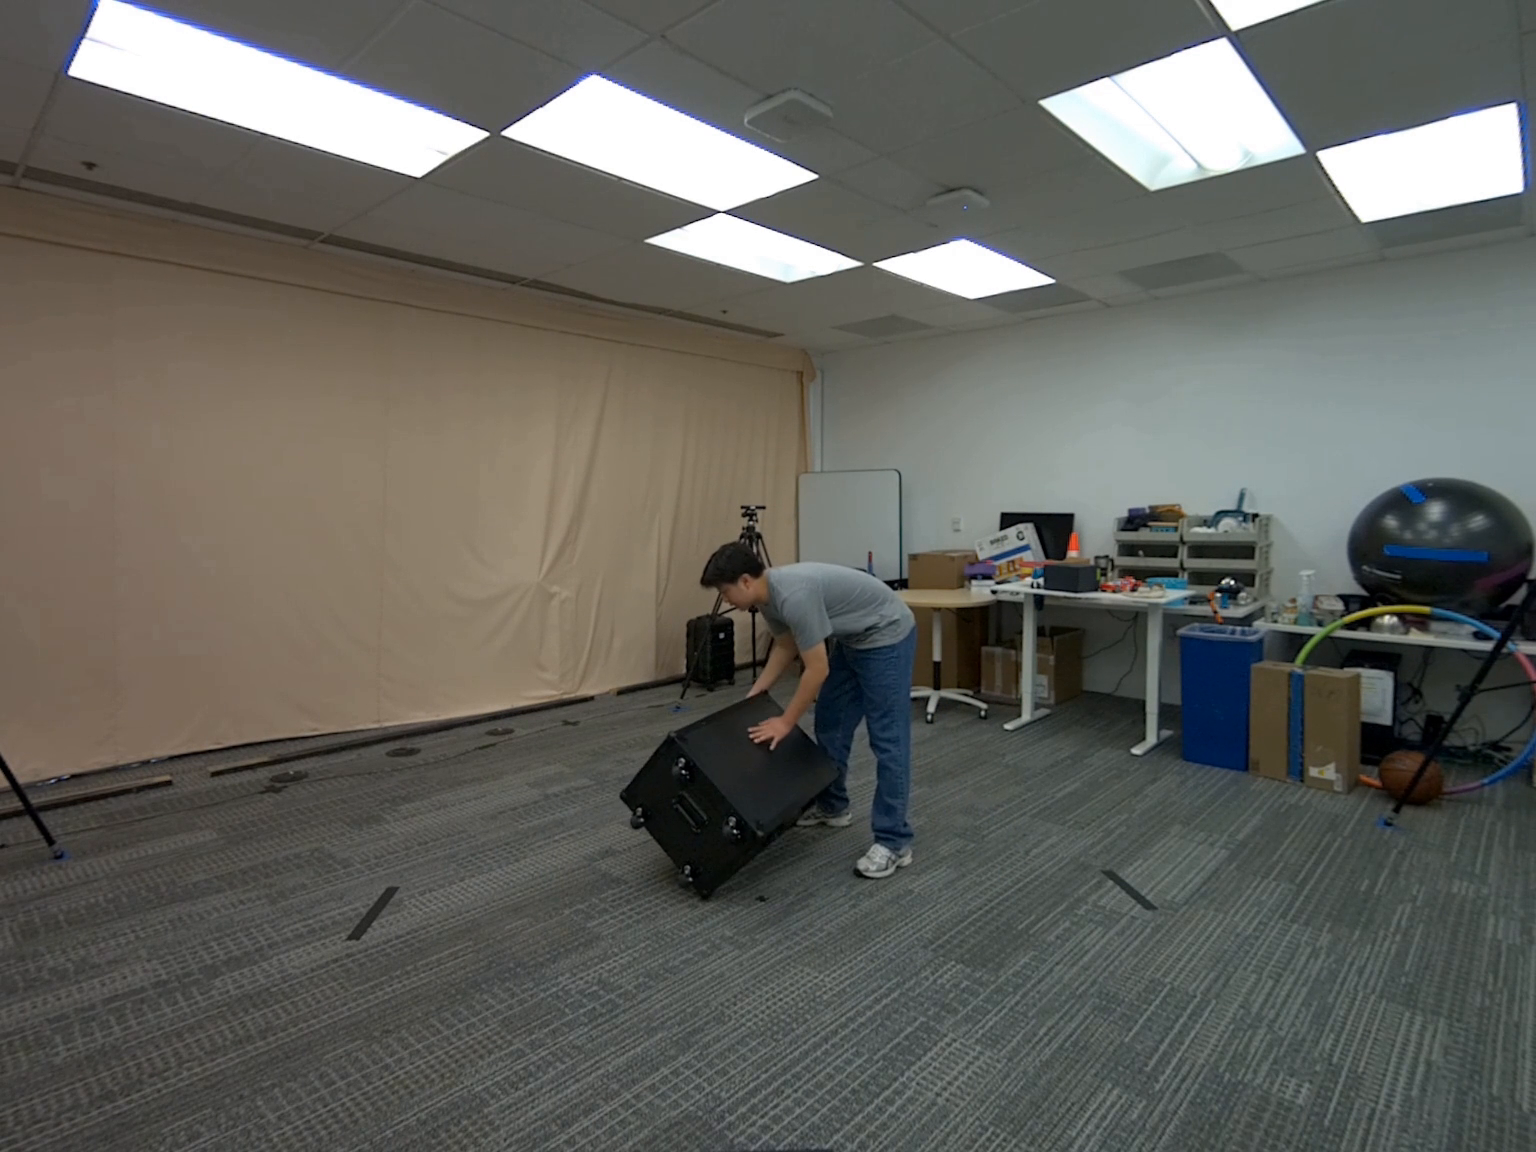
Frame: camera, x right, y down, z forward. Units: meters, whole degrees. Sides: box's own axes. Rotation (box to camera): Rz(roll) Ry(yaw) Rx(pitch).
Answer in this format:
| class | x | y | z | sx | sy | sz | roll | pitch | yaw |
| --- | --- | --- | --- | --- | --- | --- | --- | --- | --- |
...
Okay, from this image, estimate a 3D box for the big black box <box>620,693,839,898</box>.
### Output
| class | x | y | z | sx | sy | sz | roll | pitch | yaw |
| --- | --- | --- | --- | --- | --- | --- | --- | --- | --- |
| big black box | -0.145 | 0.827 | 3.289 | 0.532 | 0.398 | 0.841 | 46 | 21 | 16 |
